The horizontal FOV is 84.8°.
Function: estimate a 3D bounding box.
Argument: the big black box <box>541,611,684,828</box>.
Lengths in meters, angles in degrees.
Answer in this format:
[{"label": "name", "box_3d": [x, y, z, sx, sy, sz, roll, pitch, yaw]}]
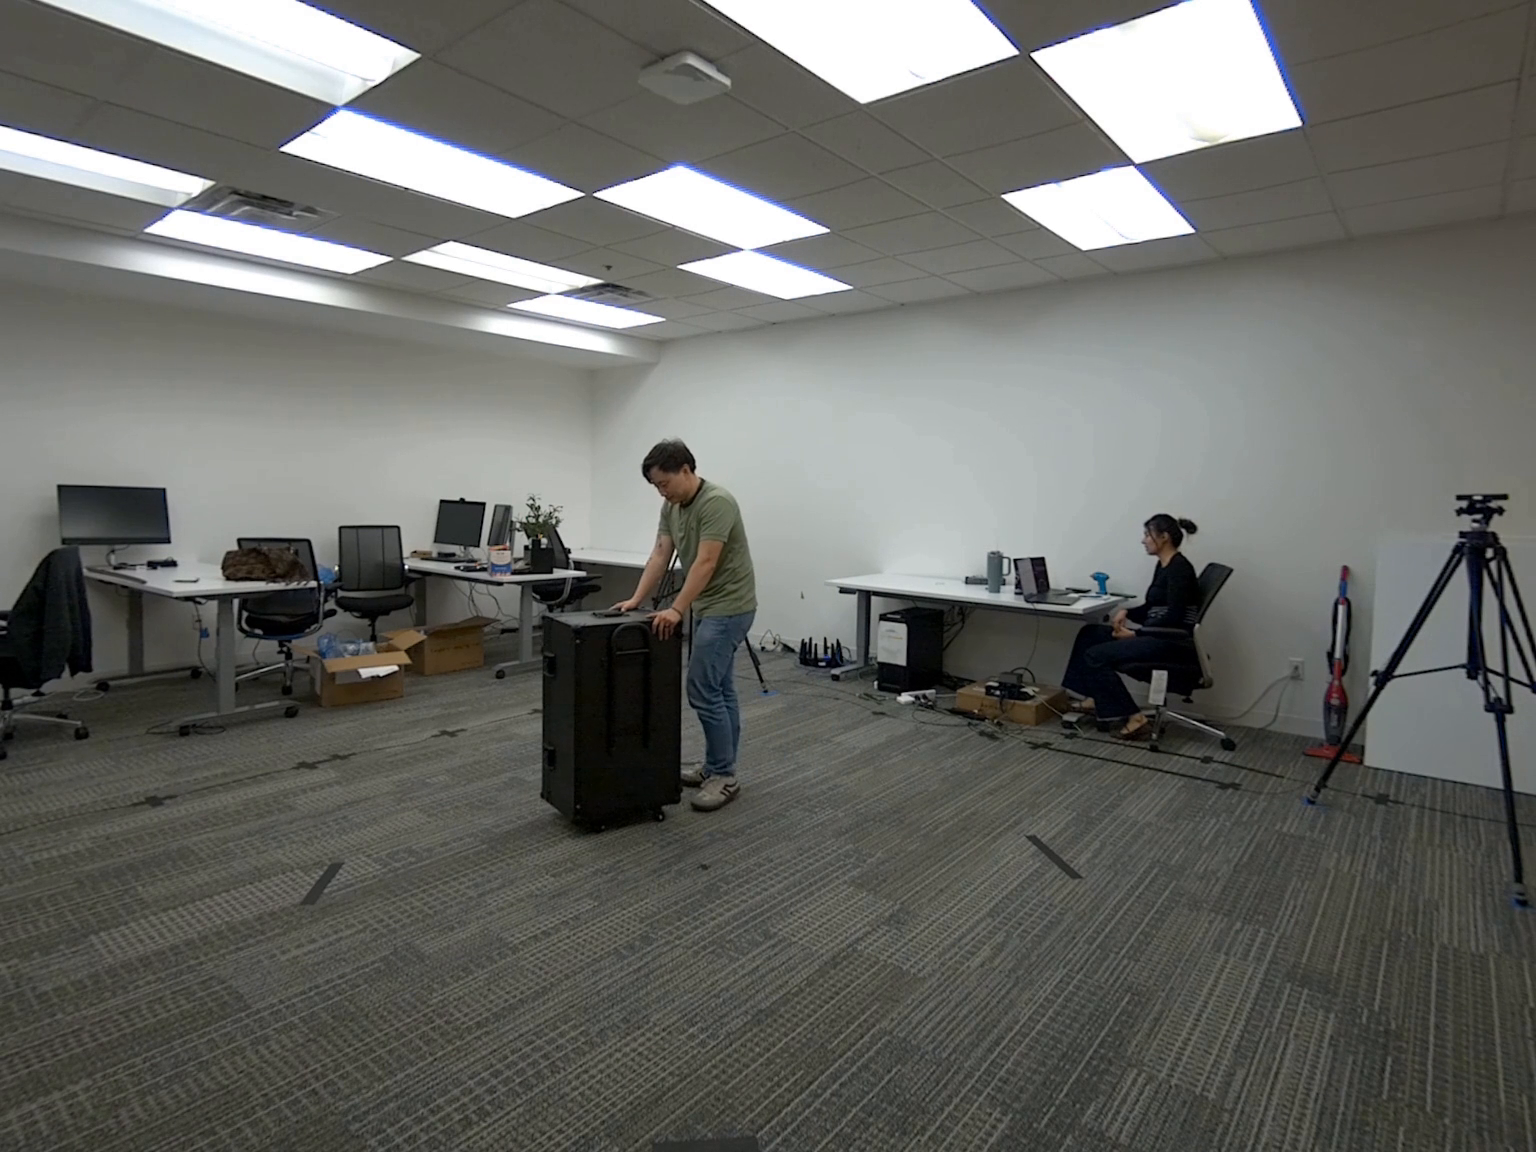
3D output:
[{"label": "big black box", "box_3d": [-0.661, 0.592, 3.557, 0.506, 0.859, 0.409, -1, 4, -33]}]
